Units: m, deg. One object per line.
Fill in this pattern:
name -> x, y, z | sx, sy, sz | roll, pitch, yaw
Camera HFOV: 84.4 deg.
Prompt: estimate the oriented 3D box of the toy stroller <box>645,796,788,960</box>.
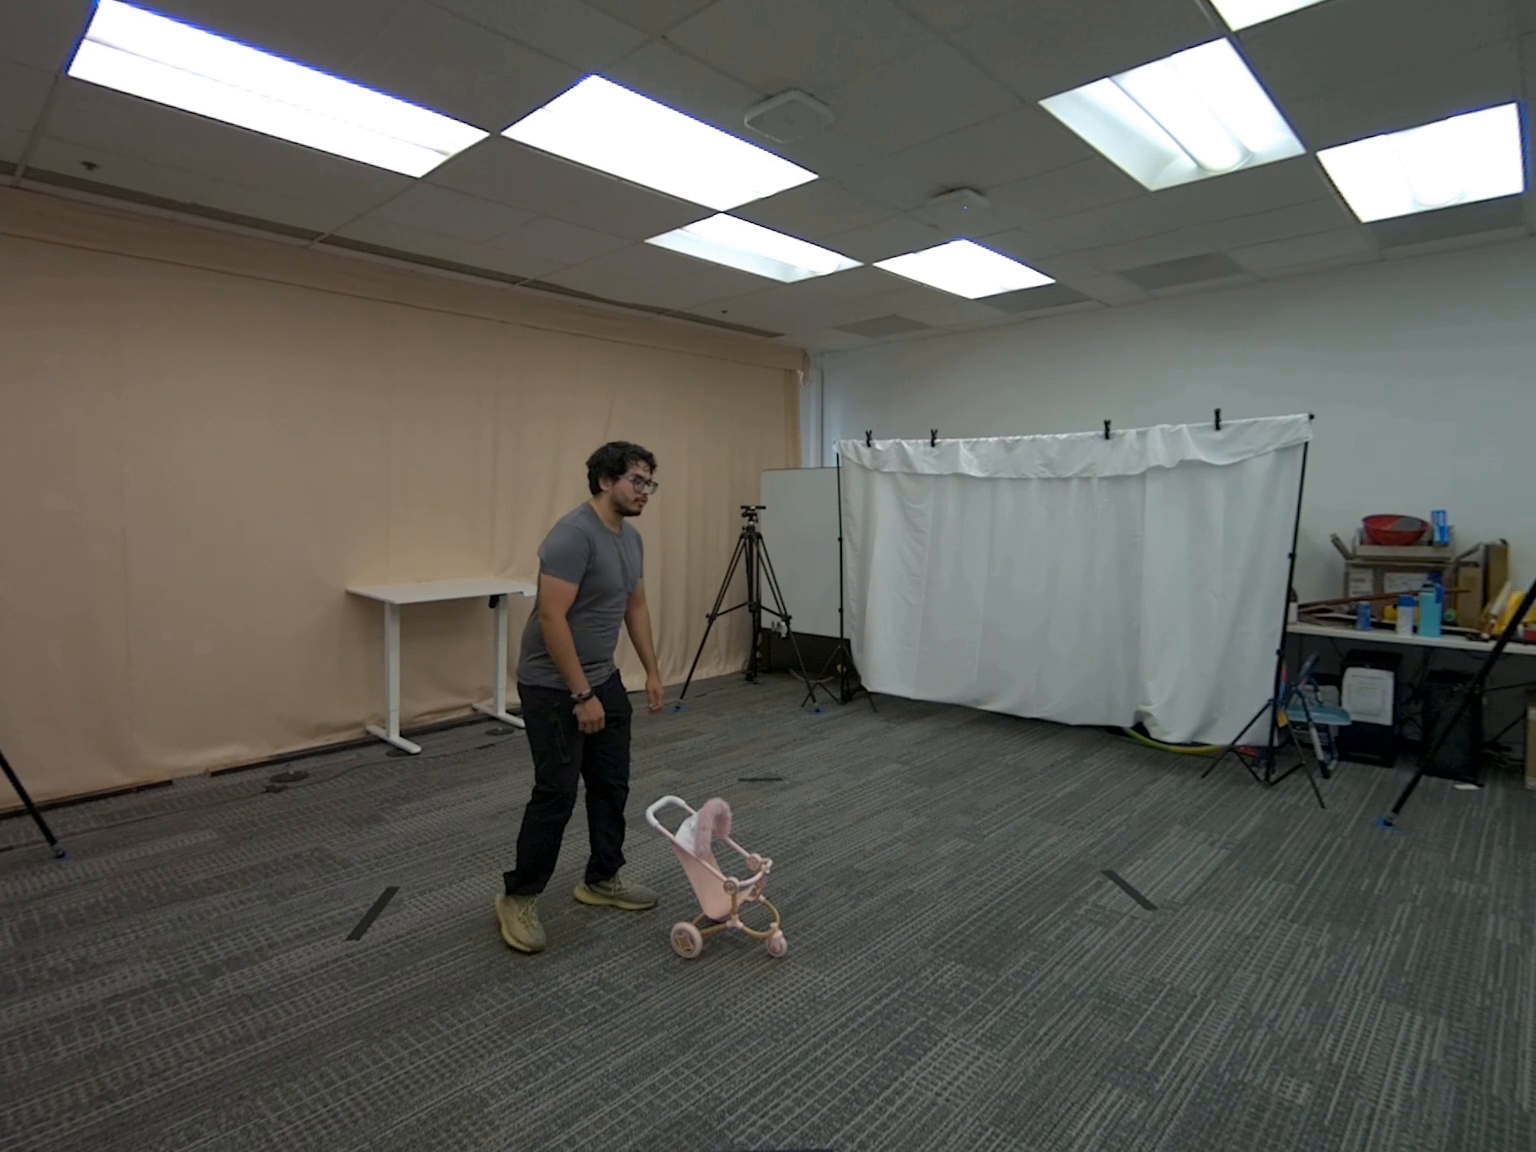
toy stroller -> -0.148, 0.956, 2.660 | 0.348, 0.537, 0.274 | -18, -5, 28
